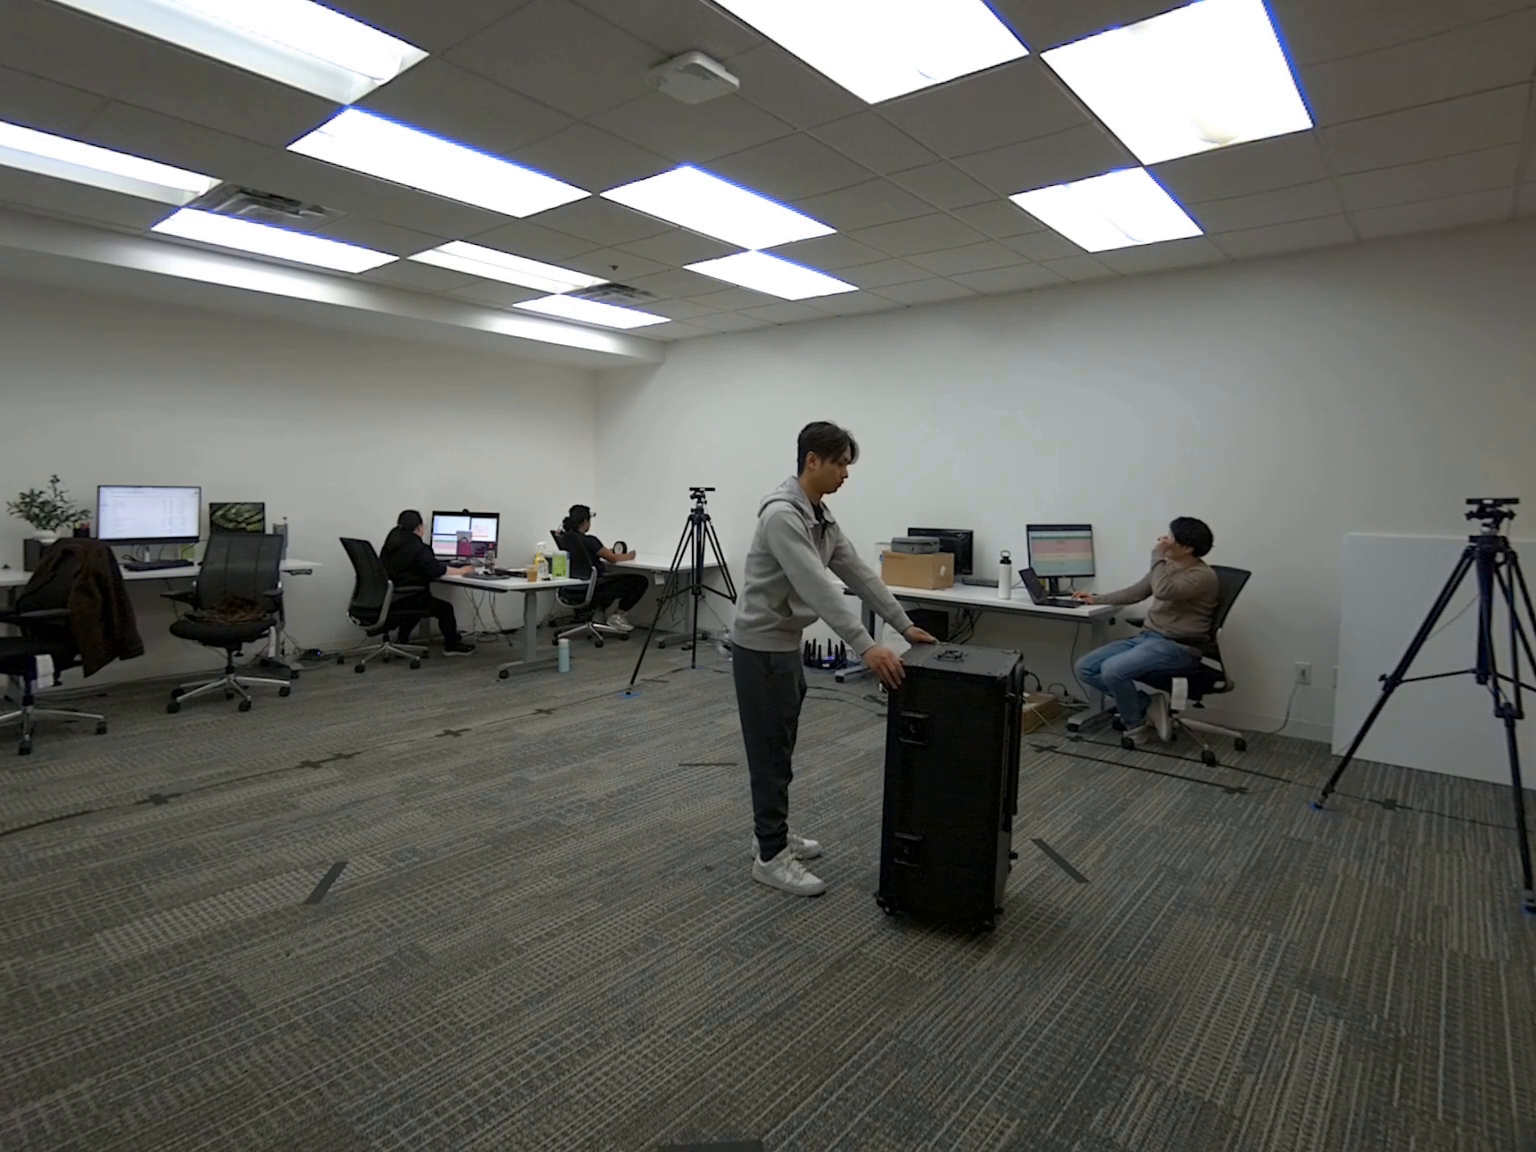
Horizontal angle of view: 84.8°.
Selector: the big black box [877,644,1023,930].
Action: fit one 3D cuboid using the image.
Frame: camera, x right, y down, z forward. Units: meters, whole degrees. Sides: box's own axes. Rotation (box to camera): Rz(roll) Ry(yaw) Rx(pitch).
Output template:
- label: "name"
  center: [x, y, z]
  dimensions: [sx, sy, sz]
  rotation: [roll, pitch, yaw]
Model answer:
- label: "big black box"
  center: [0.618, 0.685, 2.833]
  dimensions: [0.406, 0.858, 0.510]
  rotation: [4, 5, 24]
